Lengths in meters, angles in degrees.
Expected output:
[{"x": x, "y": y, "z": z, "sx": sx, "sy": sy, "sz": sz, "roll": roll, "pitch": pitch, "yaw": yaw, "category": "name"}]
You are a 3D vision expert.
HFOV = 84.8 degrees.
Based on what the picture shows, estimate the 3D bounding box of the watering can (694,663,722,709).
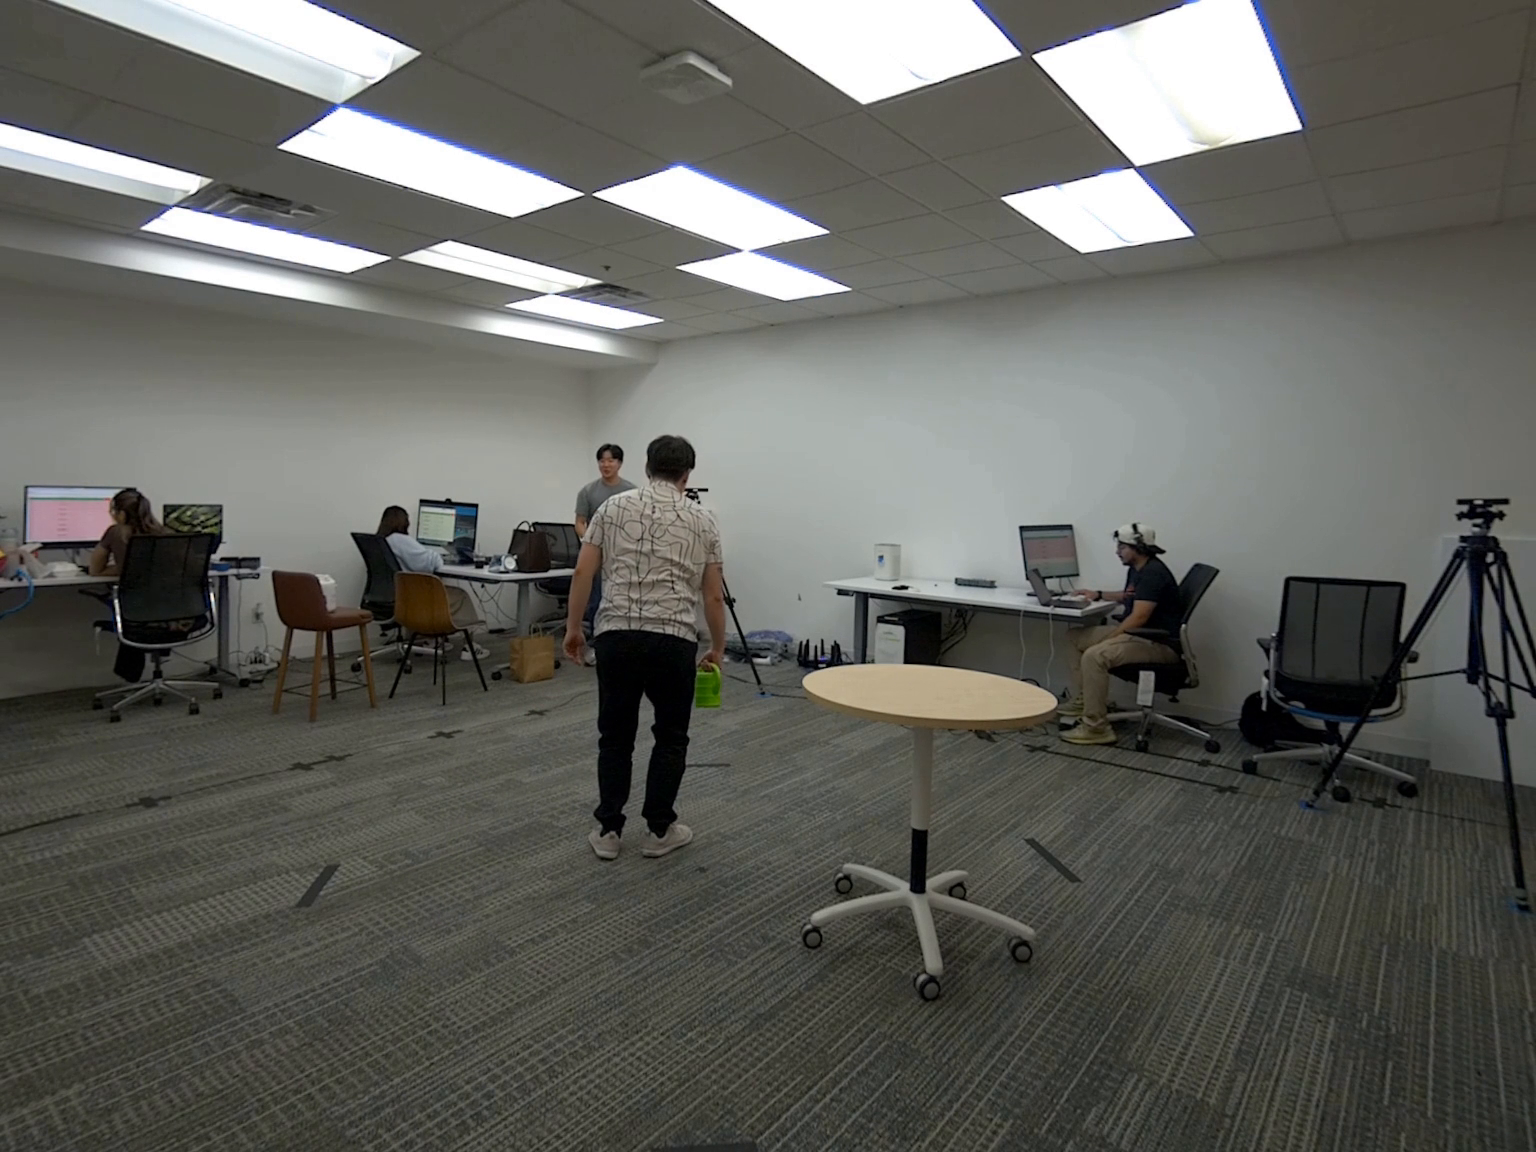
[{"x": -0.280, "y": 0.443, "z": 3.468, "sx": 0.096, "sy": 0.177, "sz": 0.284, "roll": -2, "pitch": -1, "yaw": -26, "category": "watering can"}]
